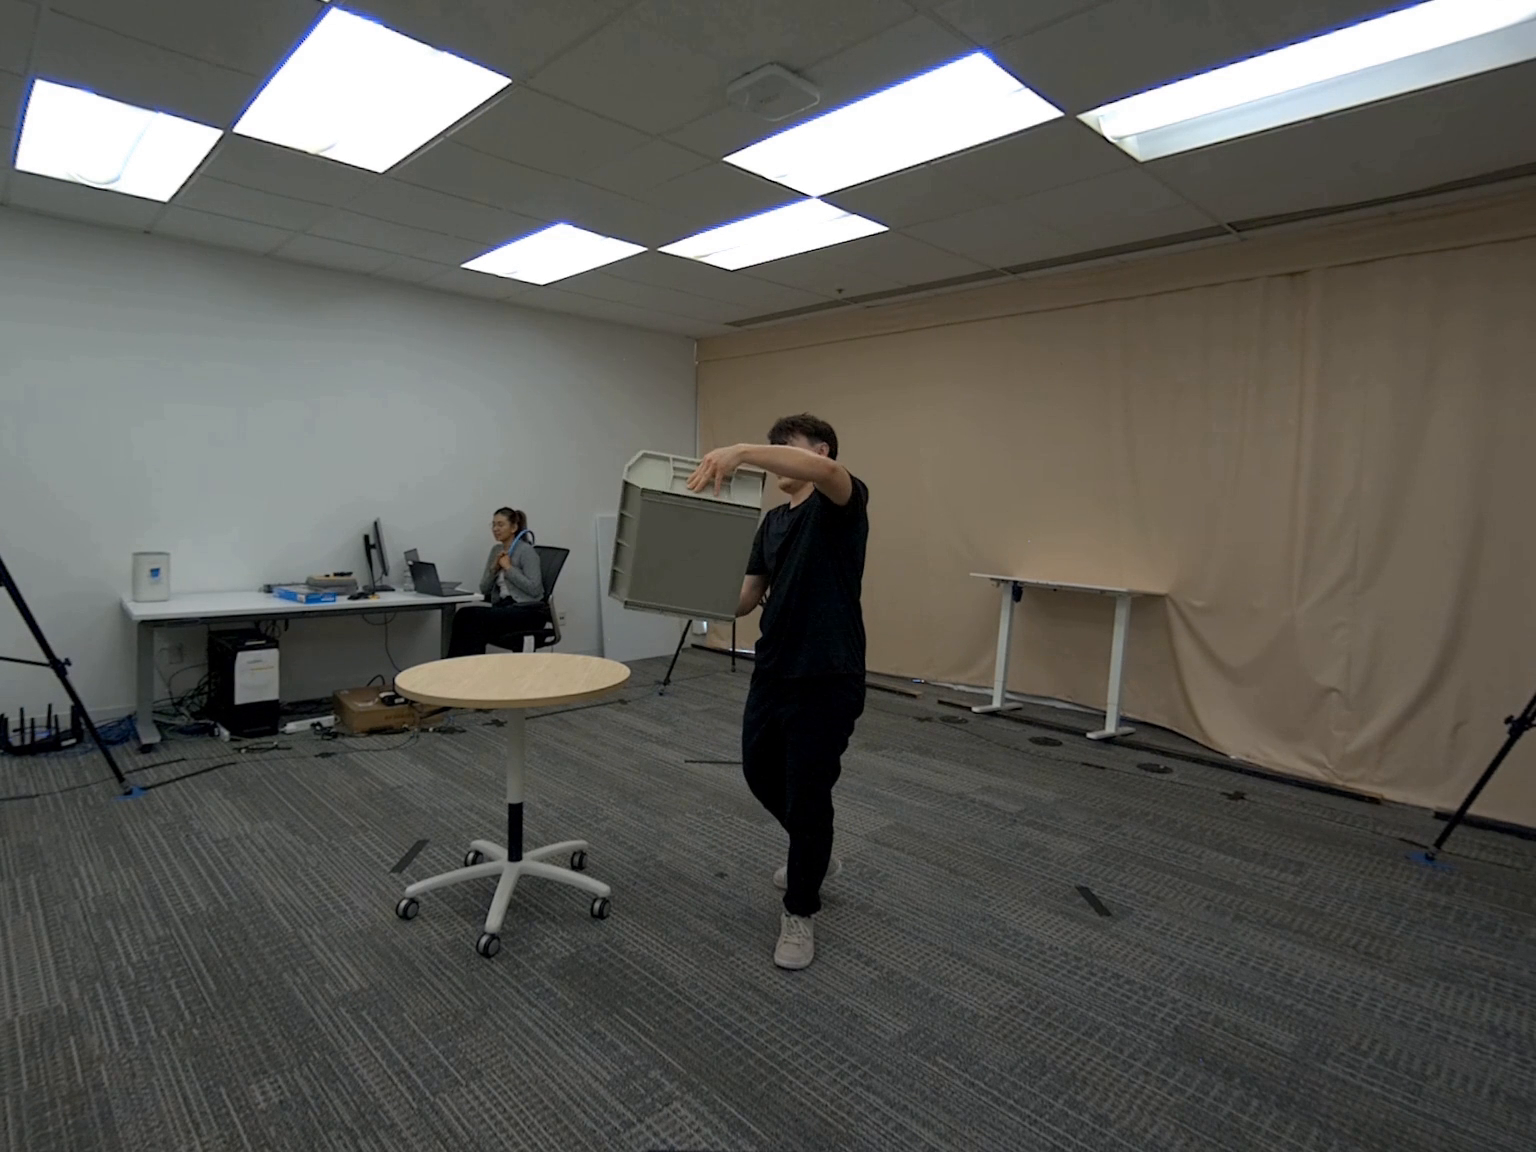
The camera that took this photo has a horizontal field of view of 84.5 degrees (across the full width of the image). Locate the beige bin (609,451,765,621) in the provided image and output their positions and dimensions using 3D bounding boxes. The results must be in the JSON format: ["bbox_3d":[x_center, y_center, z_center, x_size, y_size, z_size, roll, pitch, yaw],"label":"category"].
[{"bbox_3d":[-0.239,-0.093,2.327,0.376,0.415,0.193,8,37,-4],"label":"beige bin"}]
